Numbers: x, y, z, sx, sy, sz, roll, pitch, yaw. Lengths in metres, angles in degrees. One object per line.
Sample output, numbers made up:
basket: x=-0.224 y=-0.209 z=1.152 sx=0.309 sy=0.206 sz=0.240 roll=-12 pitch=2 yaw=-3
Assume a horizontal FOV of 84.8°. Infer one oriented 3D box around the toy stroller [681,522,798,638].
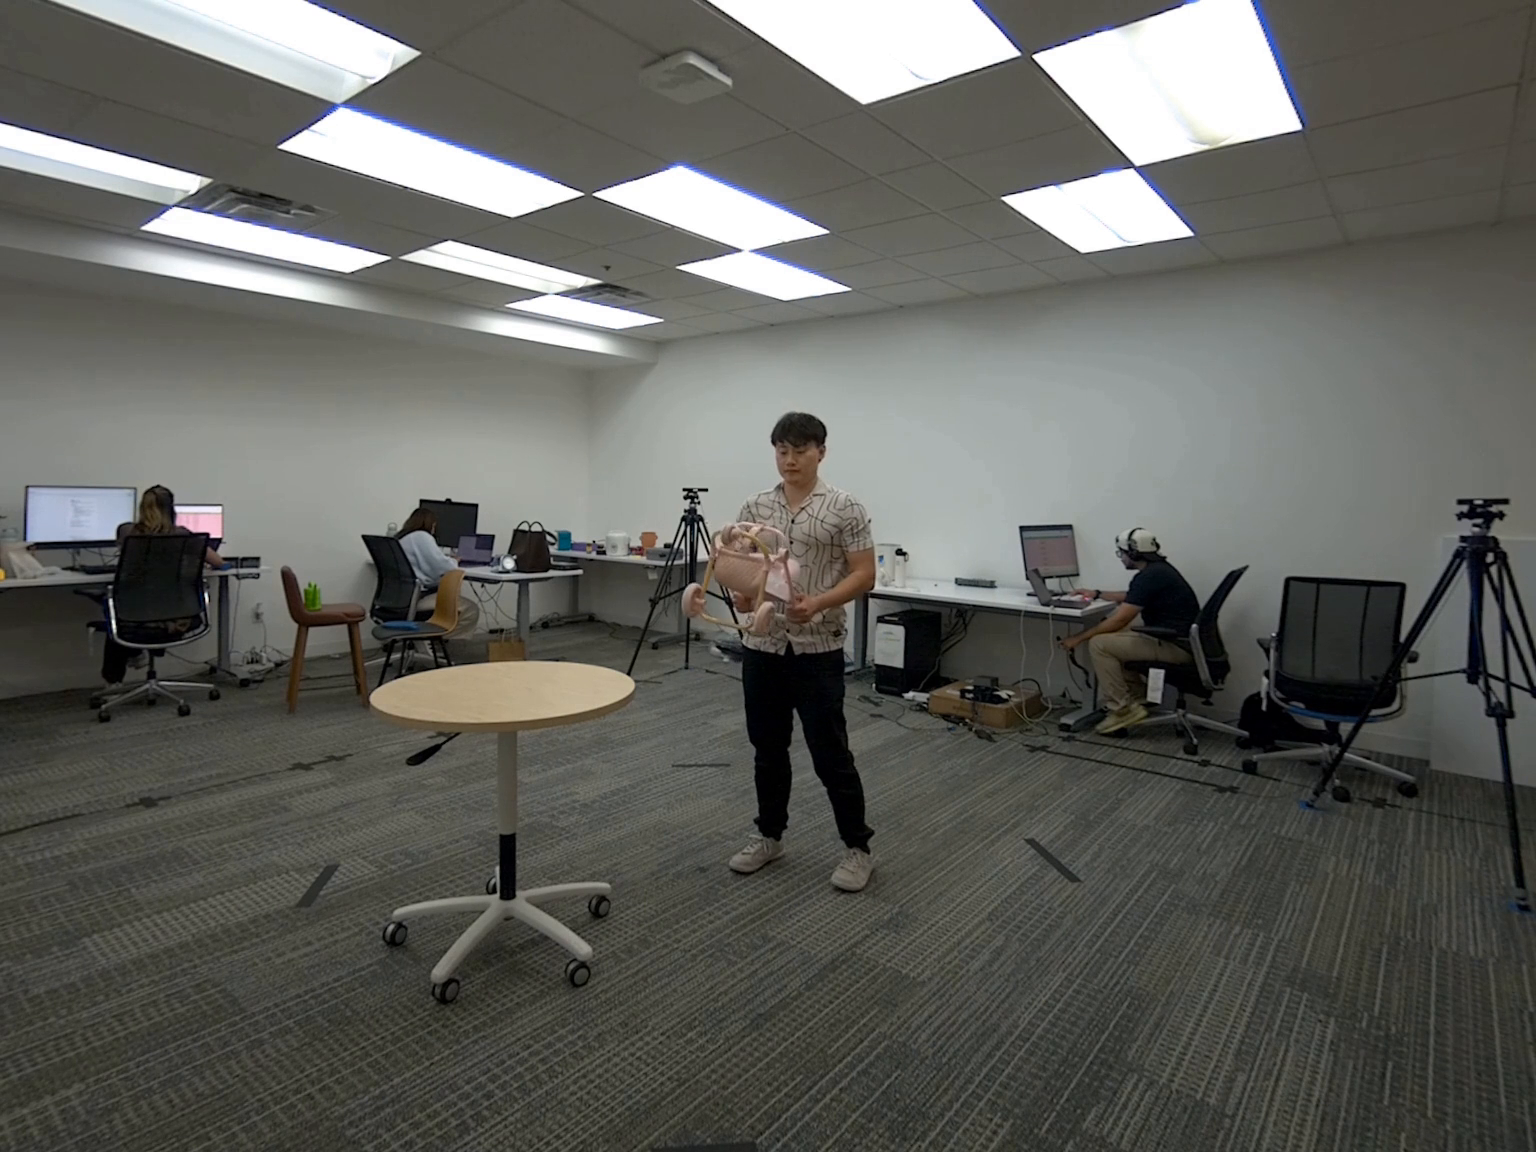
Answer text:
toy stroller: x=-0.052 y=-0.005 z=2.741 sx=0.289 sy=0.340 sz=0.522 roll=7 pitch=5 yaw=24
